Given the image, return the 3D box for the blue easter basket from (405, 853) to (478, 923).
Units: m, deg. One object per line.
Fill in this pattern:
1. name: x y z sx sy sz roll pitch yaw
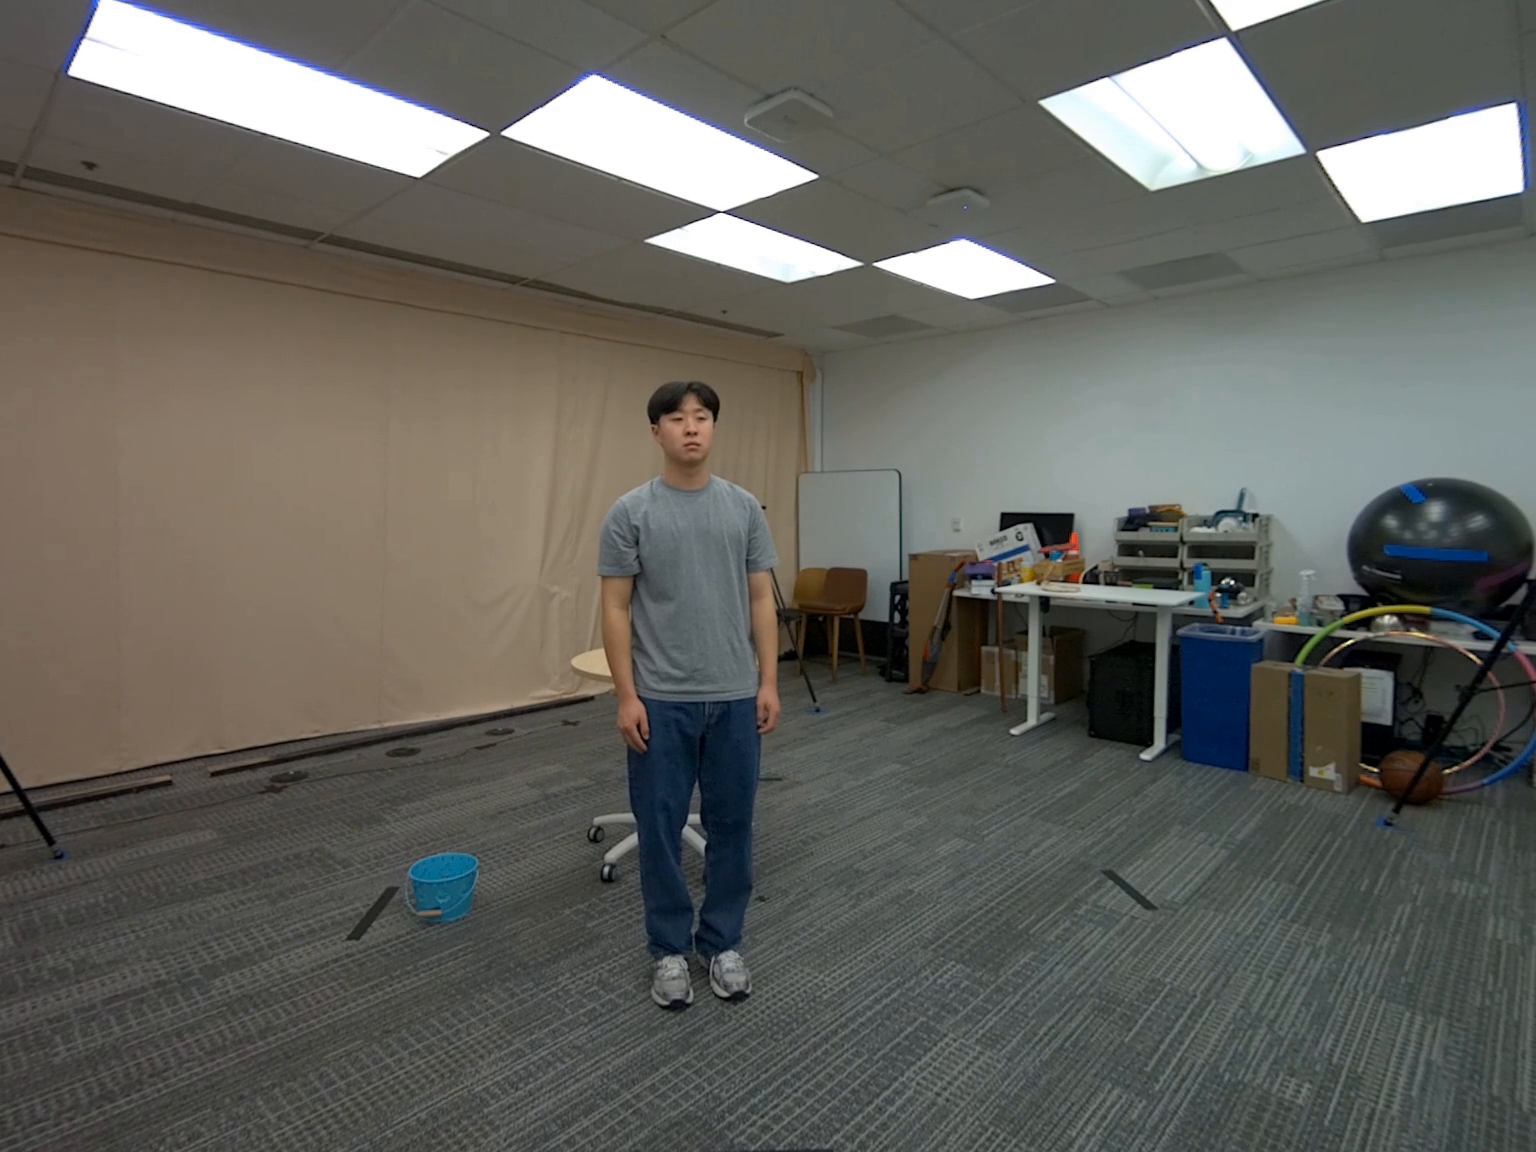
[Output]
1. blue easter basket: -1.133 1.084 2.917 0.243 0.155 0.244 0 3 -2
